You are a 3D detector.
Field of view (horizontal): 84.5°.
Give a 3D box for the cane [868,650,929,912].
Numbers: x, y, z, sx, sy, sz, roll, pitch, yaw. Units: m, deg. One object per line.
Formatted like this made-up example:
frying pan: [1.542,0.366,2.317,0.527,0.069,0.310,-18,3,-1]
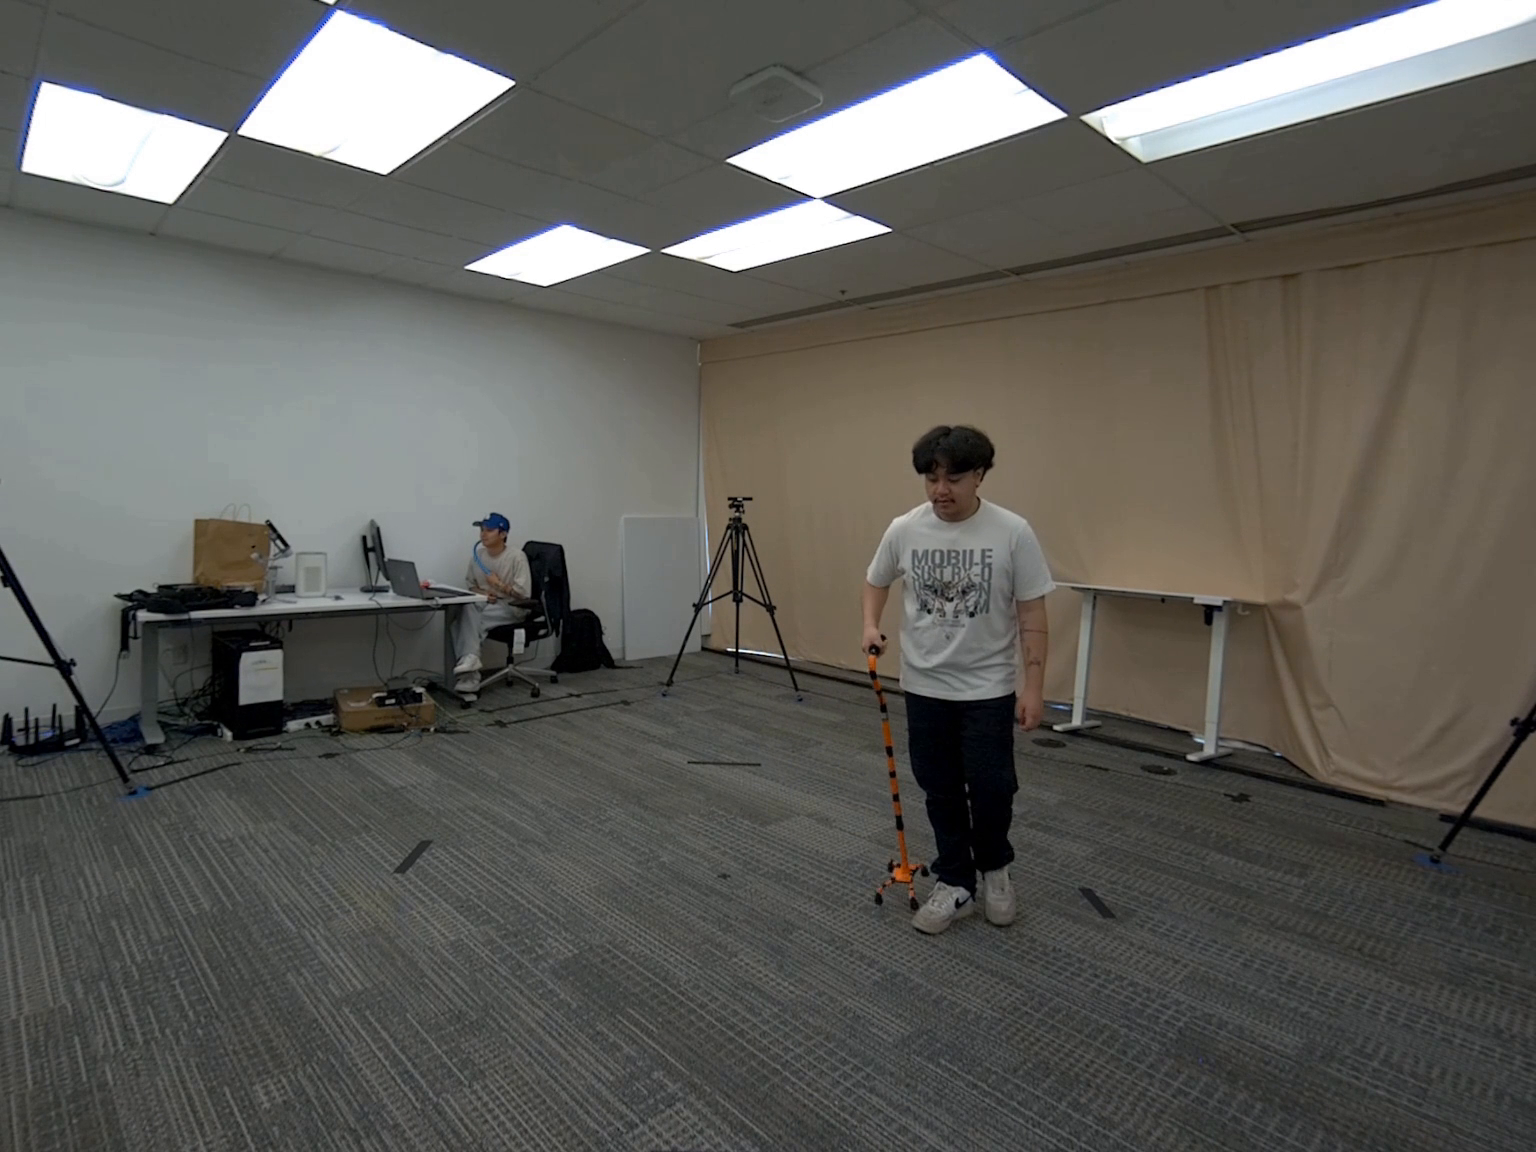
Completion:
cane: [0.388,0.666,2.837,0.154,0.898,0.205,-3,14,22]
